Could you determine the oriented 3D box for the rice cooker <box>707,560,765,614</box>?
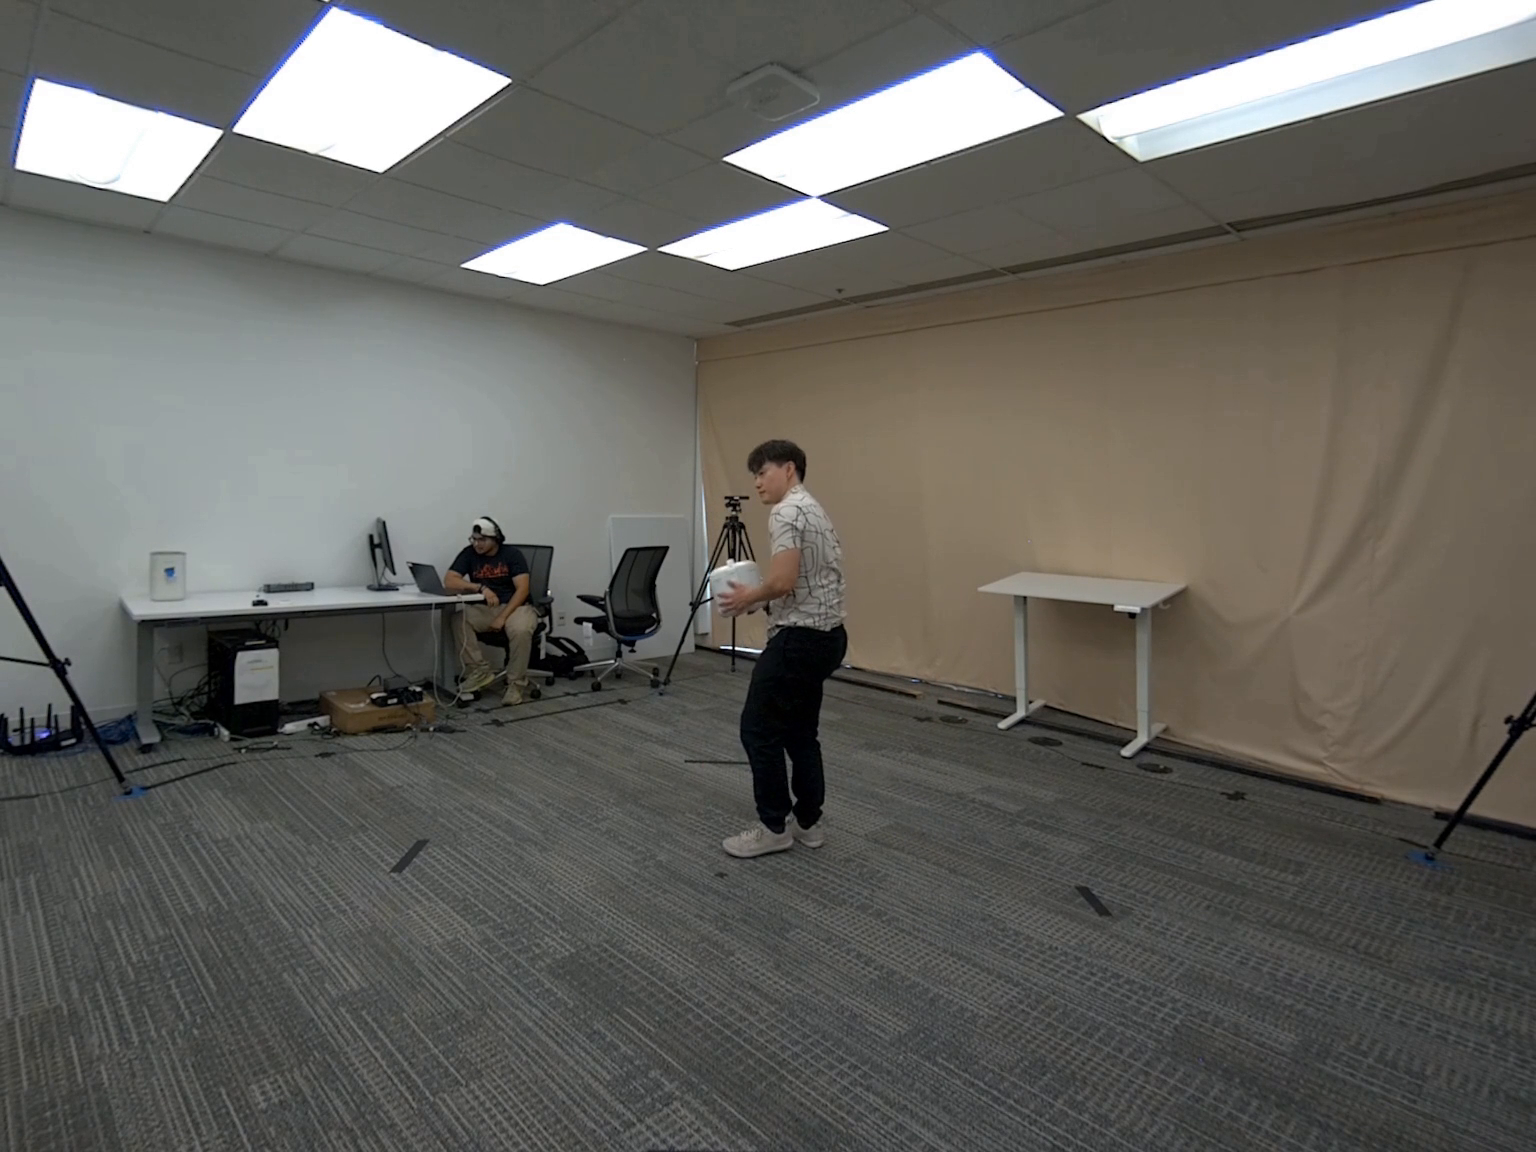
[{"bbox_3d":[-0.133,0.040,3.503,0.217,0.234,0.219,-16,-3,1],"label":"rice cooker"}]
